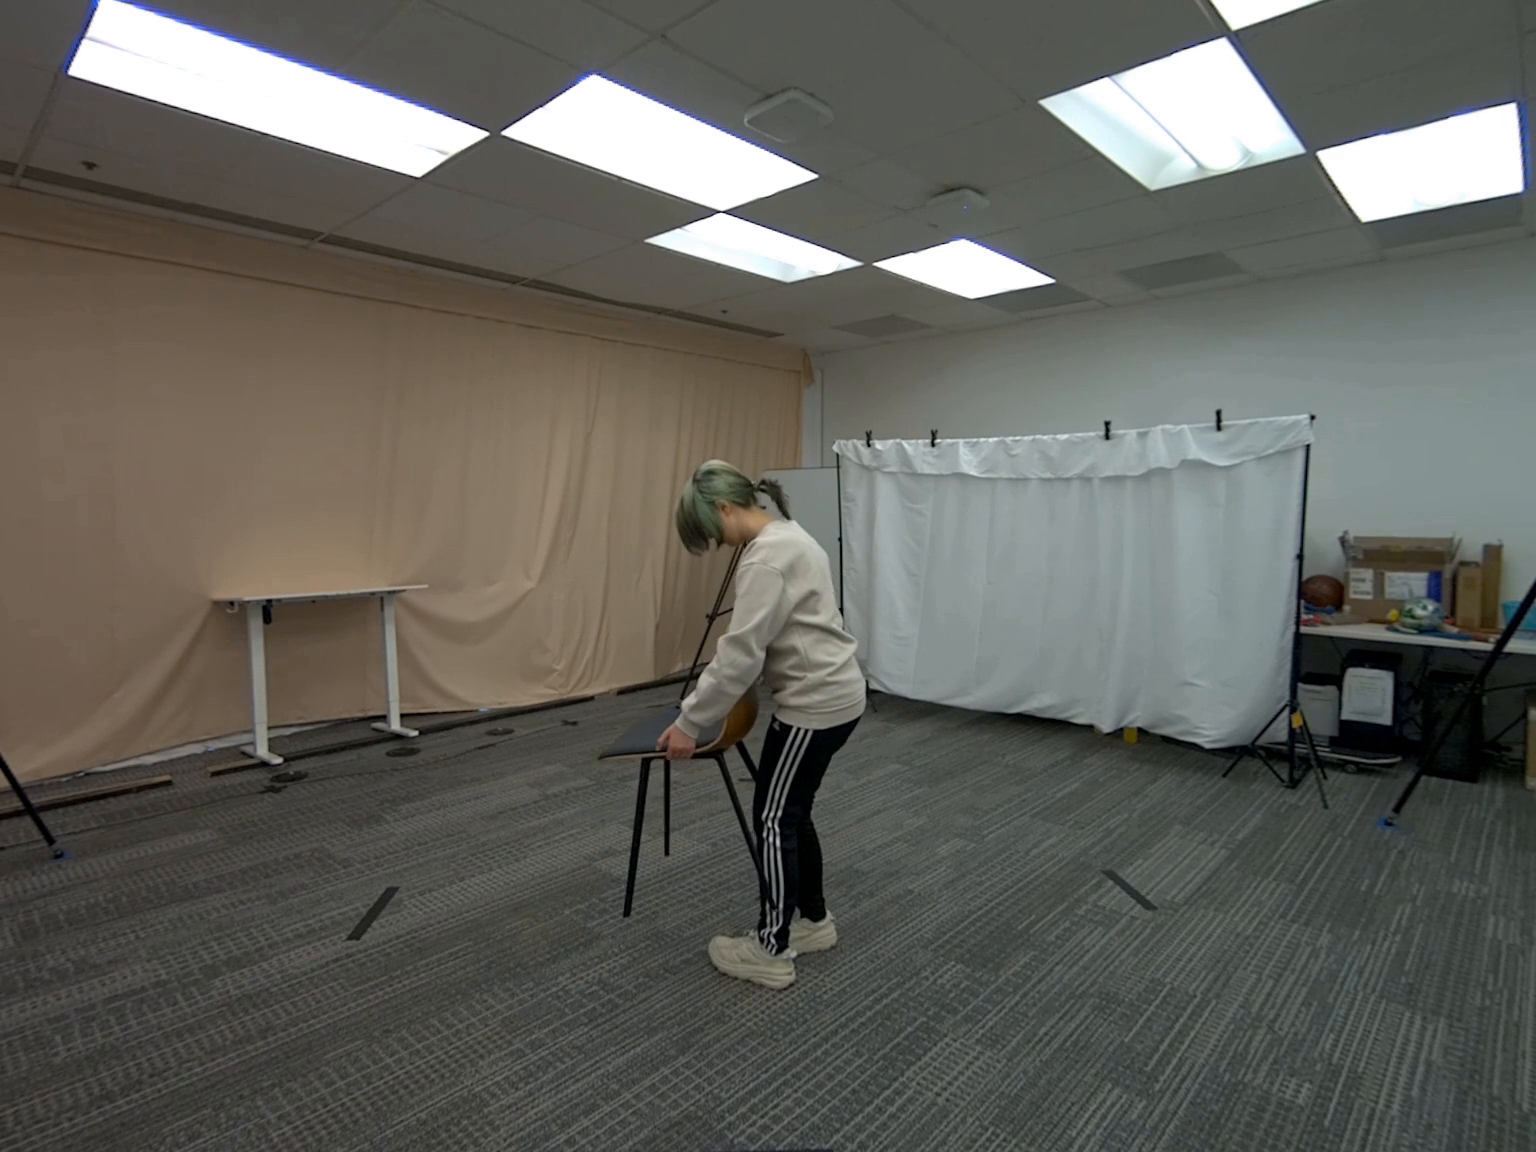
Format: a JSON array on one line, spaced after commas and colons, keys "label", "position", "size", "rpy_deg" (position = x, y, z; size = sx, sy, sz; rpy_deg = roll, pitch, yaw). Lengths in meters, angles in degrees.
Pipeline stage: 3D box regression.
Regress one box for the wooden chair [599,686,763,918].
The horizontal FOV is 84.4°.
[{"label": "wooden chair", "position": [-0.243, 0.532, 2.616], "size": [0.529, 0.875, 0.474], "rpy_deg": [-4, 4, 10]}]
